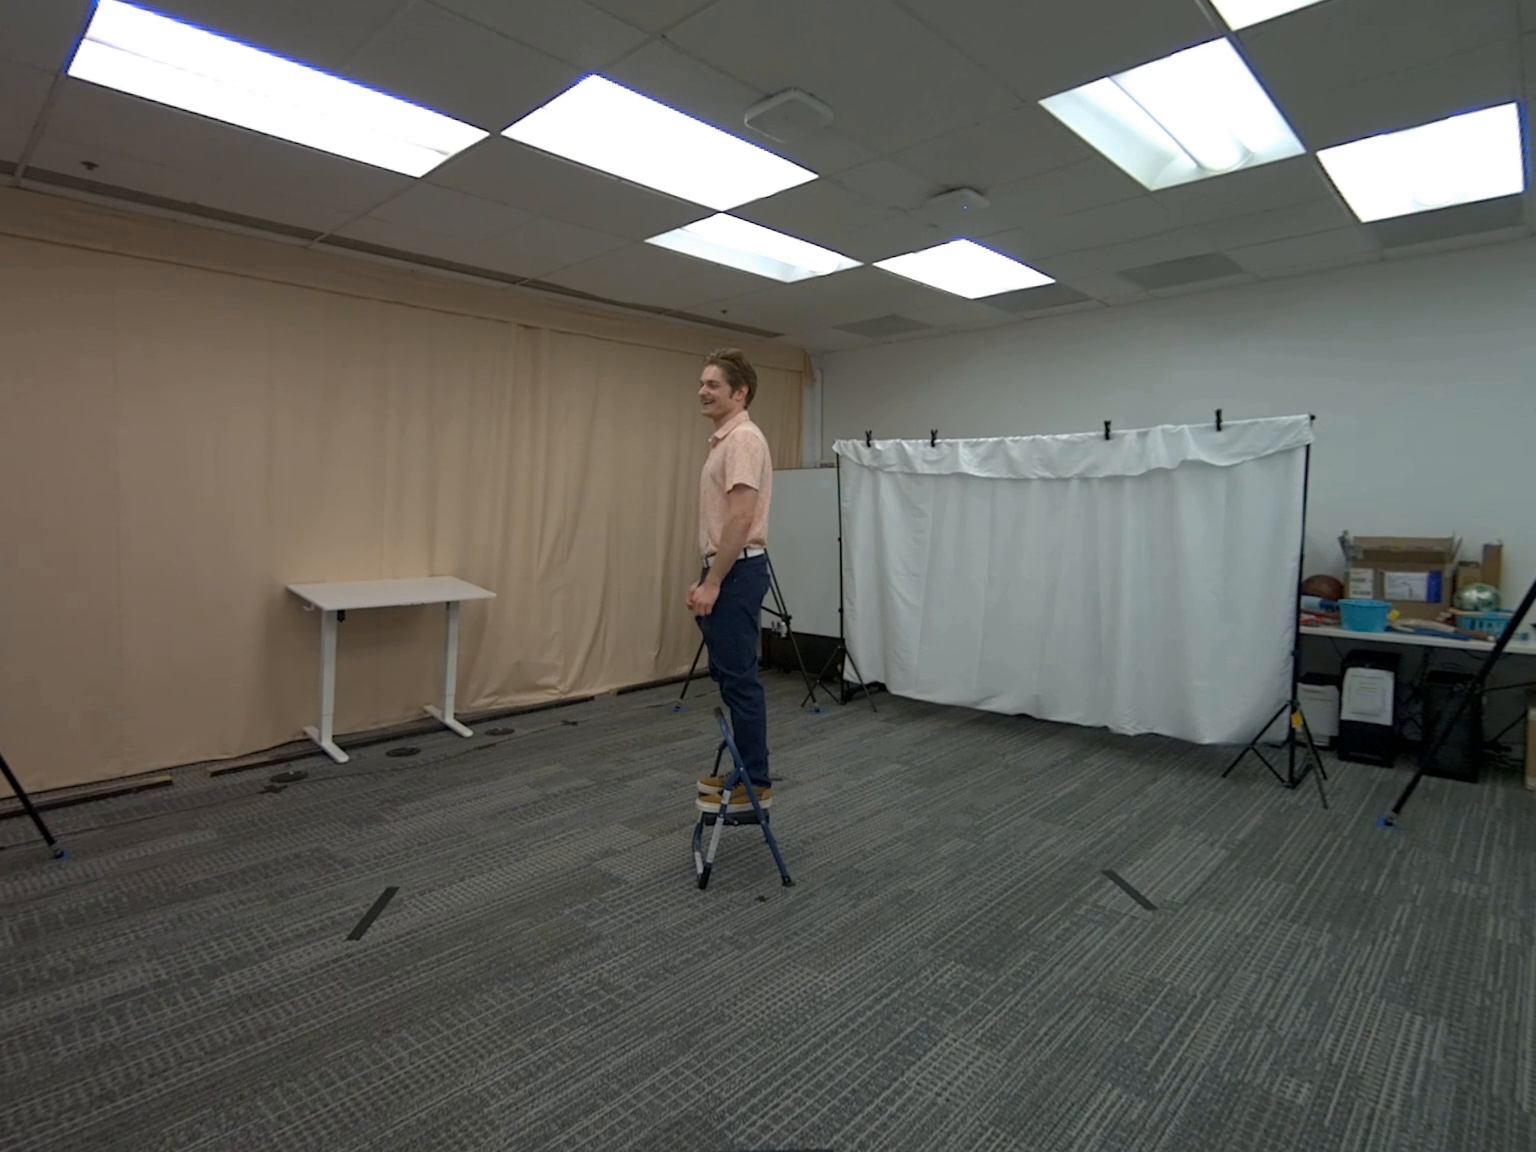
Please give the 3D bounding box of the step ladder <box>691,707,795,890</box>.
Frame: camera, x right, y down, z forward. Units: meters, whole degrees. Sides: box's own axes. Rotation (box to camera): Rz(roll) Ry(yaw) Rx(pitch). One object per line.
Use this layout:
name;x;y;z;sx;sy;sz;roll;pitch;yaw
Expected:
step ladder;-0.114;0.822;3.258;0.346;0.605;0.435;0;3;-9
